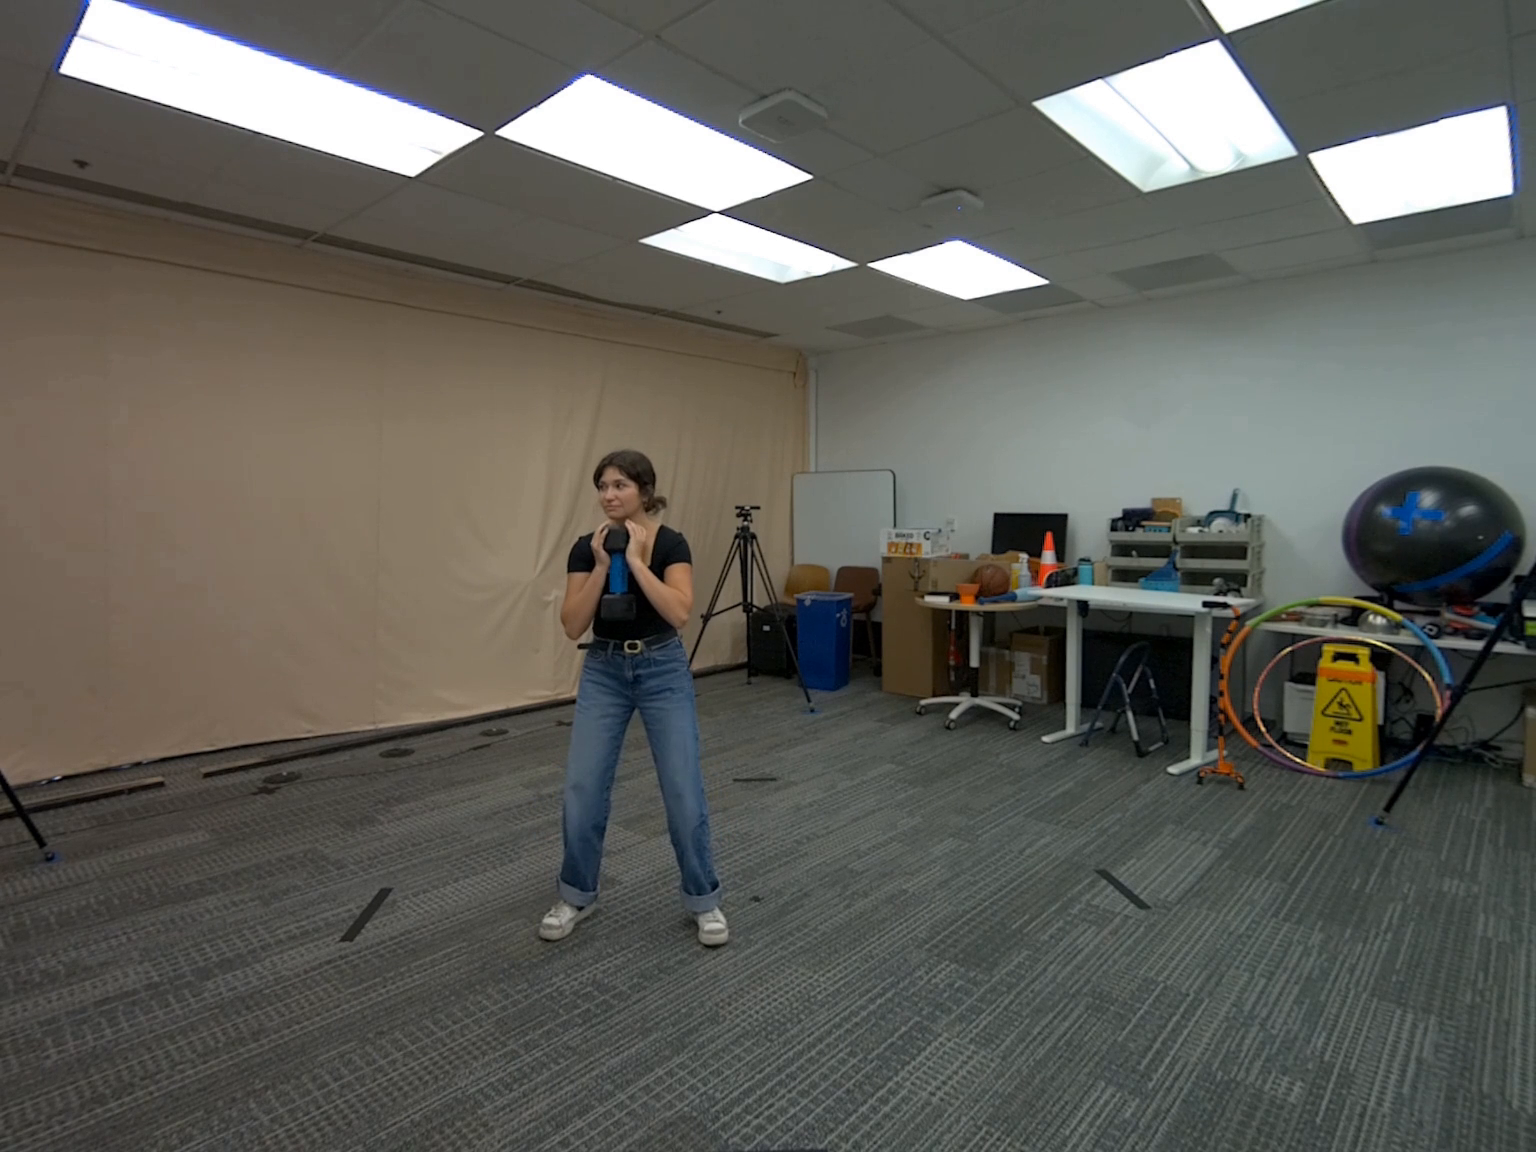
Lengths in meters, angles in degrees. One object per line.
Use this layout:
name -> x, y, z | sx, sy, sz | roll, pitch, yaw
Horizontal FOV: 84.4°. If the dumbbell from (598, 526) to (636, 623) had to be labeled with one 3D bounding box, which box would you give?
dumbbell -> -0.461, 0.004, 2.652 | 0.109, 0.294, 0.122 | -2, -1, 1
